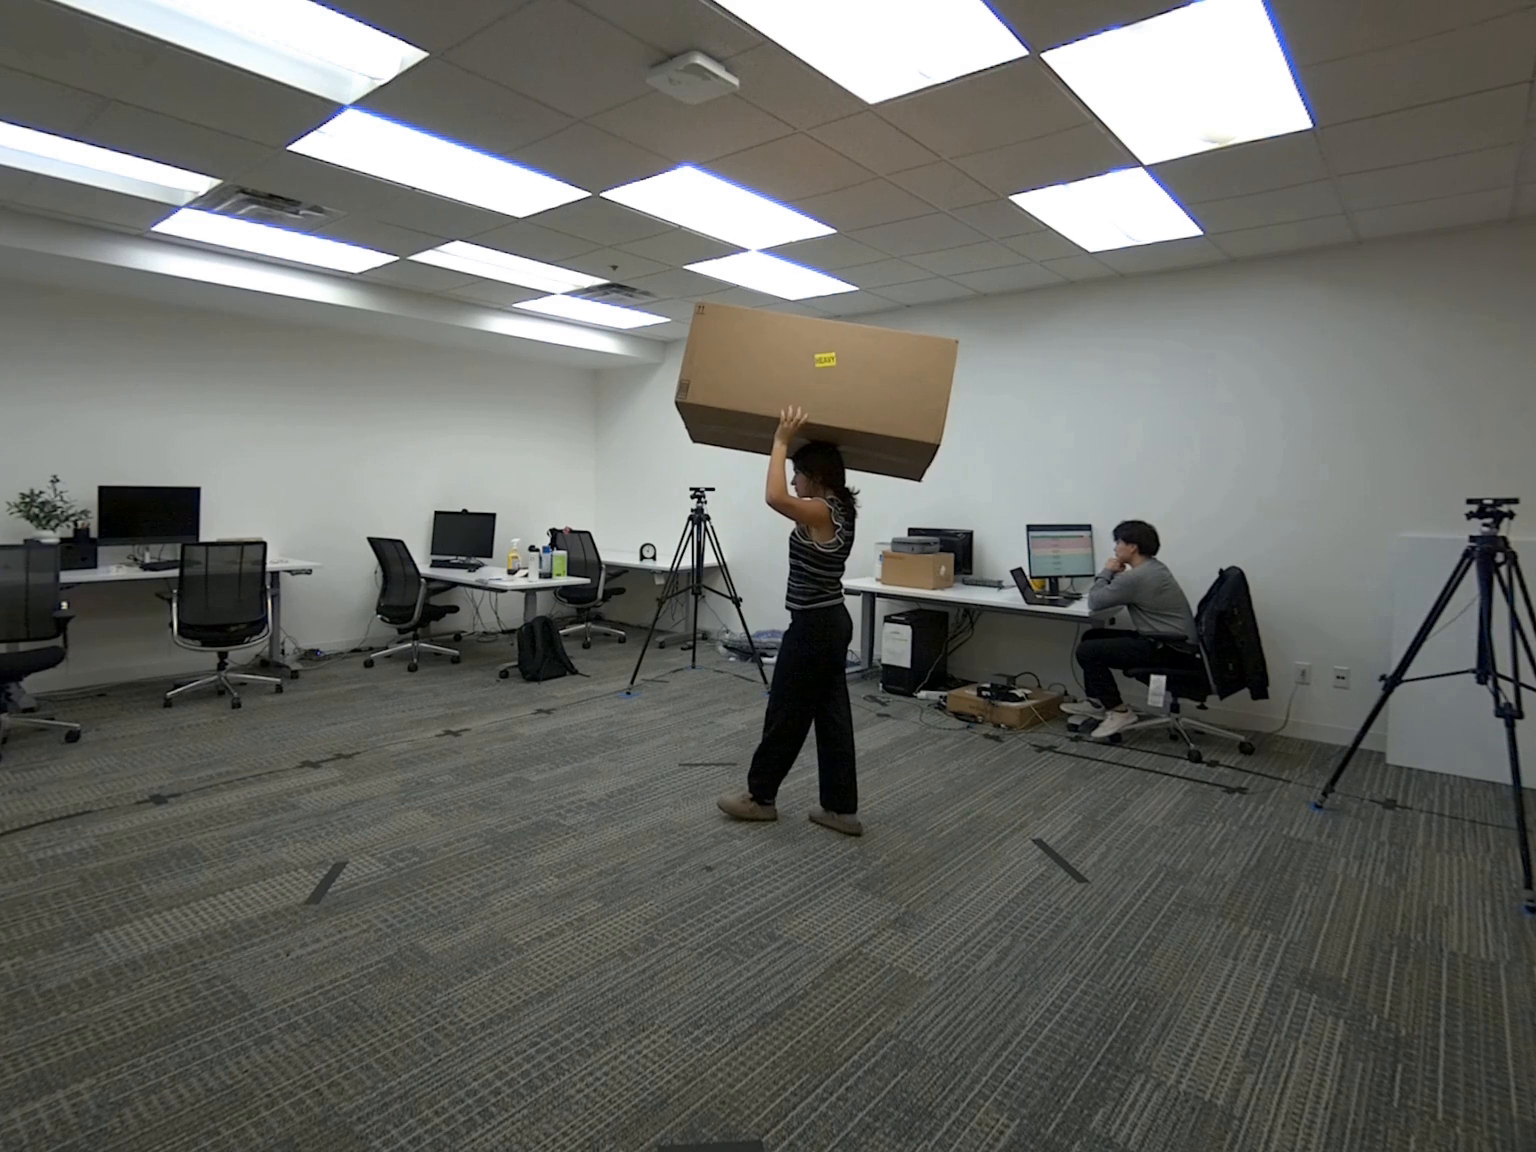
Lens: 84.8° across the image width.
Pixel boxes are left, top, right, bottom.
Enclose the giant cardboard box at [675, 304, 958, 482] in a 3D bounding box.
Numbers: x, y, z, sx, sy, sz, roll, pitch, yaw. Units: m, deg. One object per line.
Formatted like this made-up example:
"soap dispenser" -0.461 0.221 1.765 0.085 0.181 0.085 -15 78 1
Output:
"giant cardboard box" 0.178 -0.754 3.511 1.037 0.429 0.568 12 -7 8
